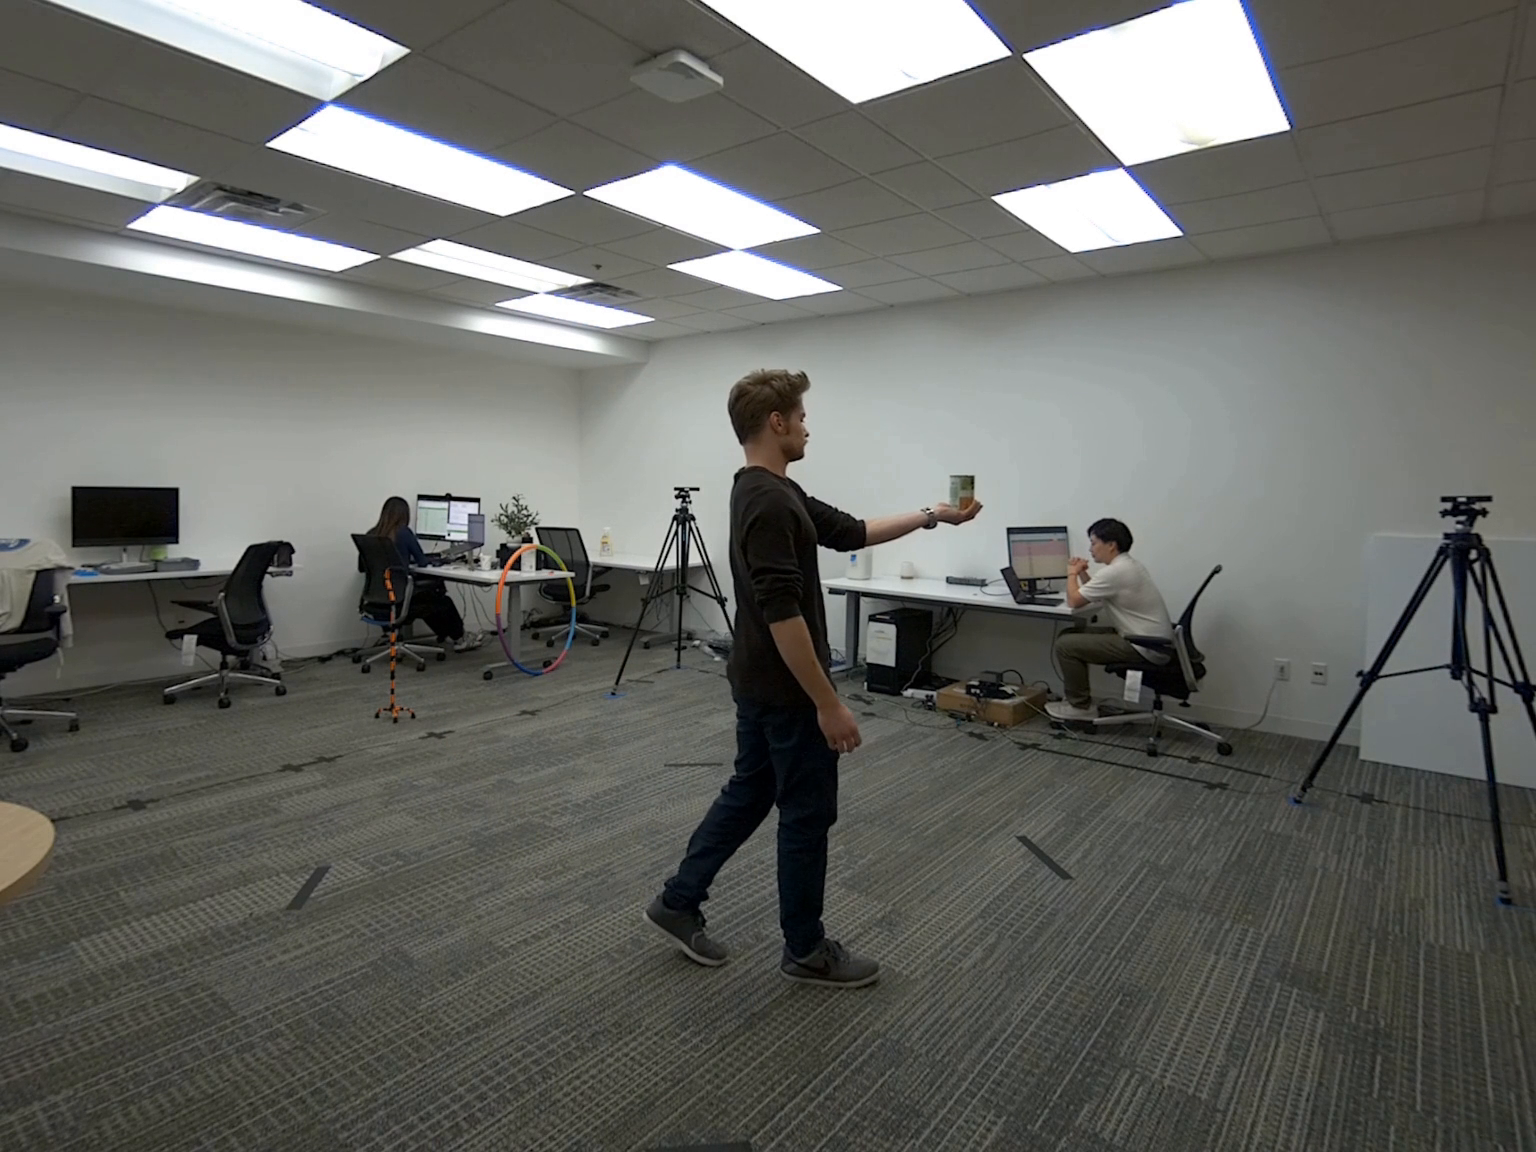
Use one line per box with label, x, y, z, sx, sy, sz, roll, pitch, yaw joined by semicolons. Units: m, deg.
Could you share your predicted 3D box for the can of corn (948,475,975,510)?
can of corn;0.590;-0.255;2.615;0.074;0.110;0.074;-1;5;-2
